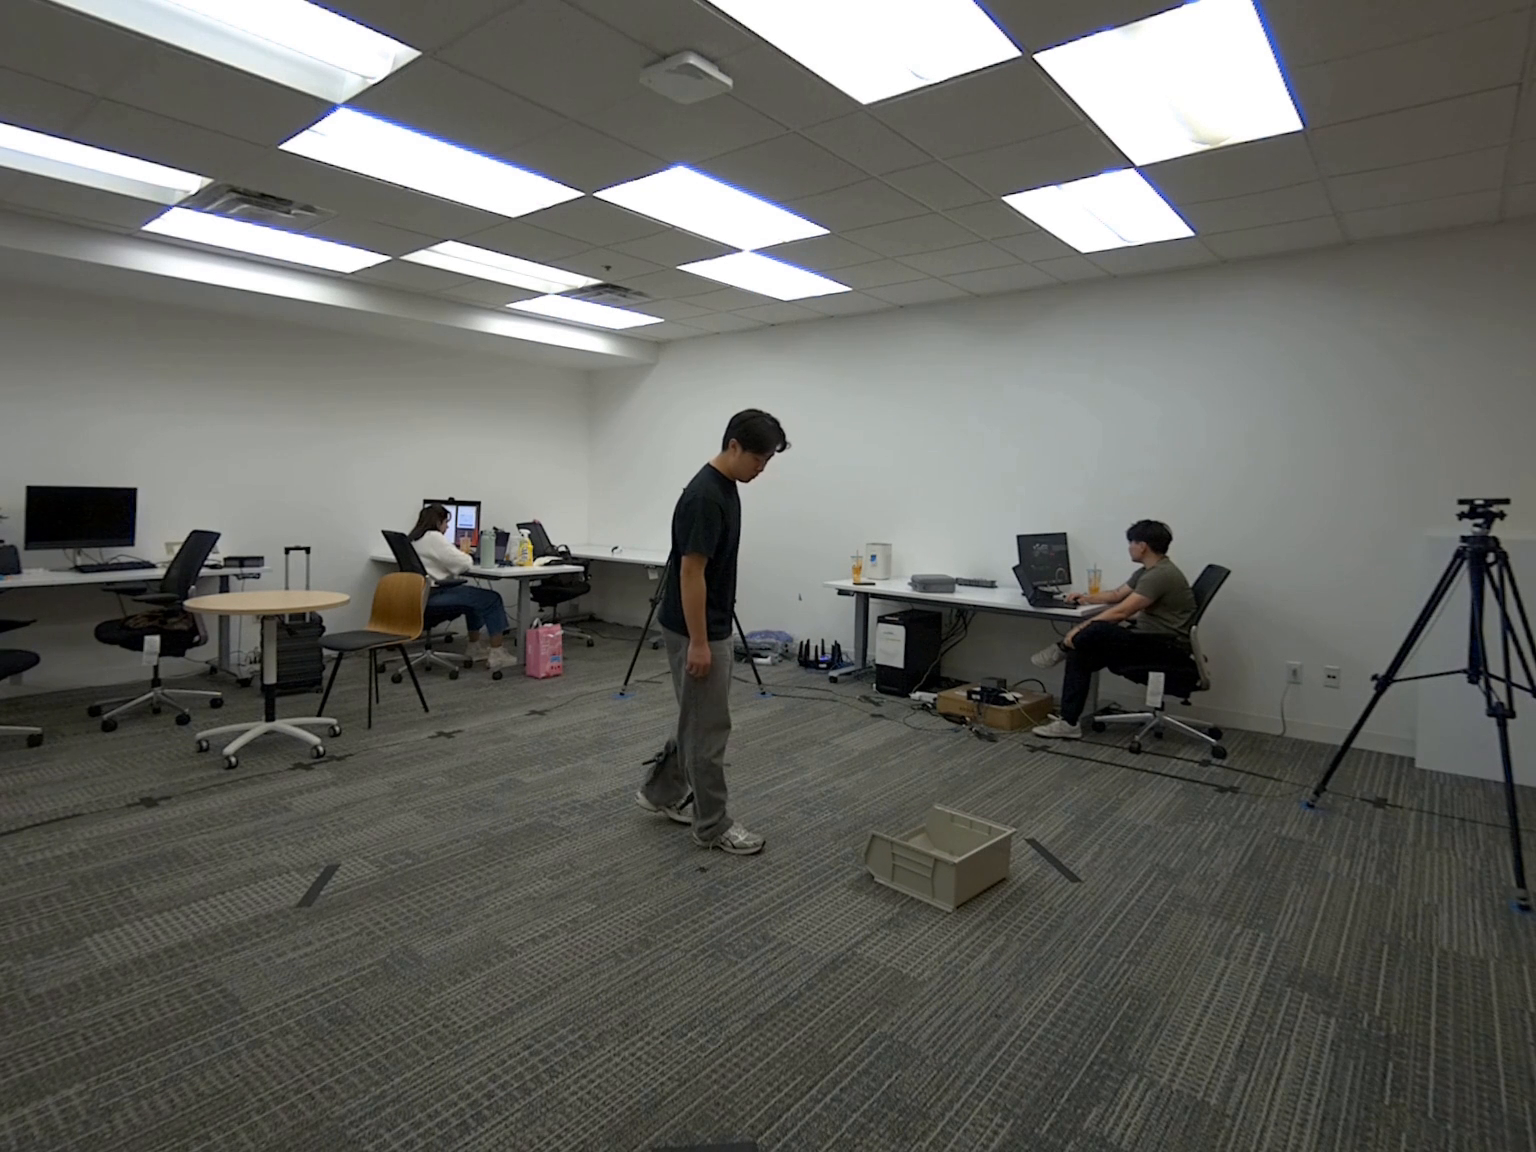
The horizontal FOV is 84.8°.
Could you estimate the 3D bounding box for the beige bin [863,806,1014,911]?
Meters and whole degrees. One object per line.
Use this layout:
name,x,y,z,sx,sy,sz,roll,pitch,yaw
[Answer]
beige bin,0.615,1.001,3.088,0.391,0.188,0.409,8,8,44
